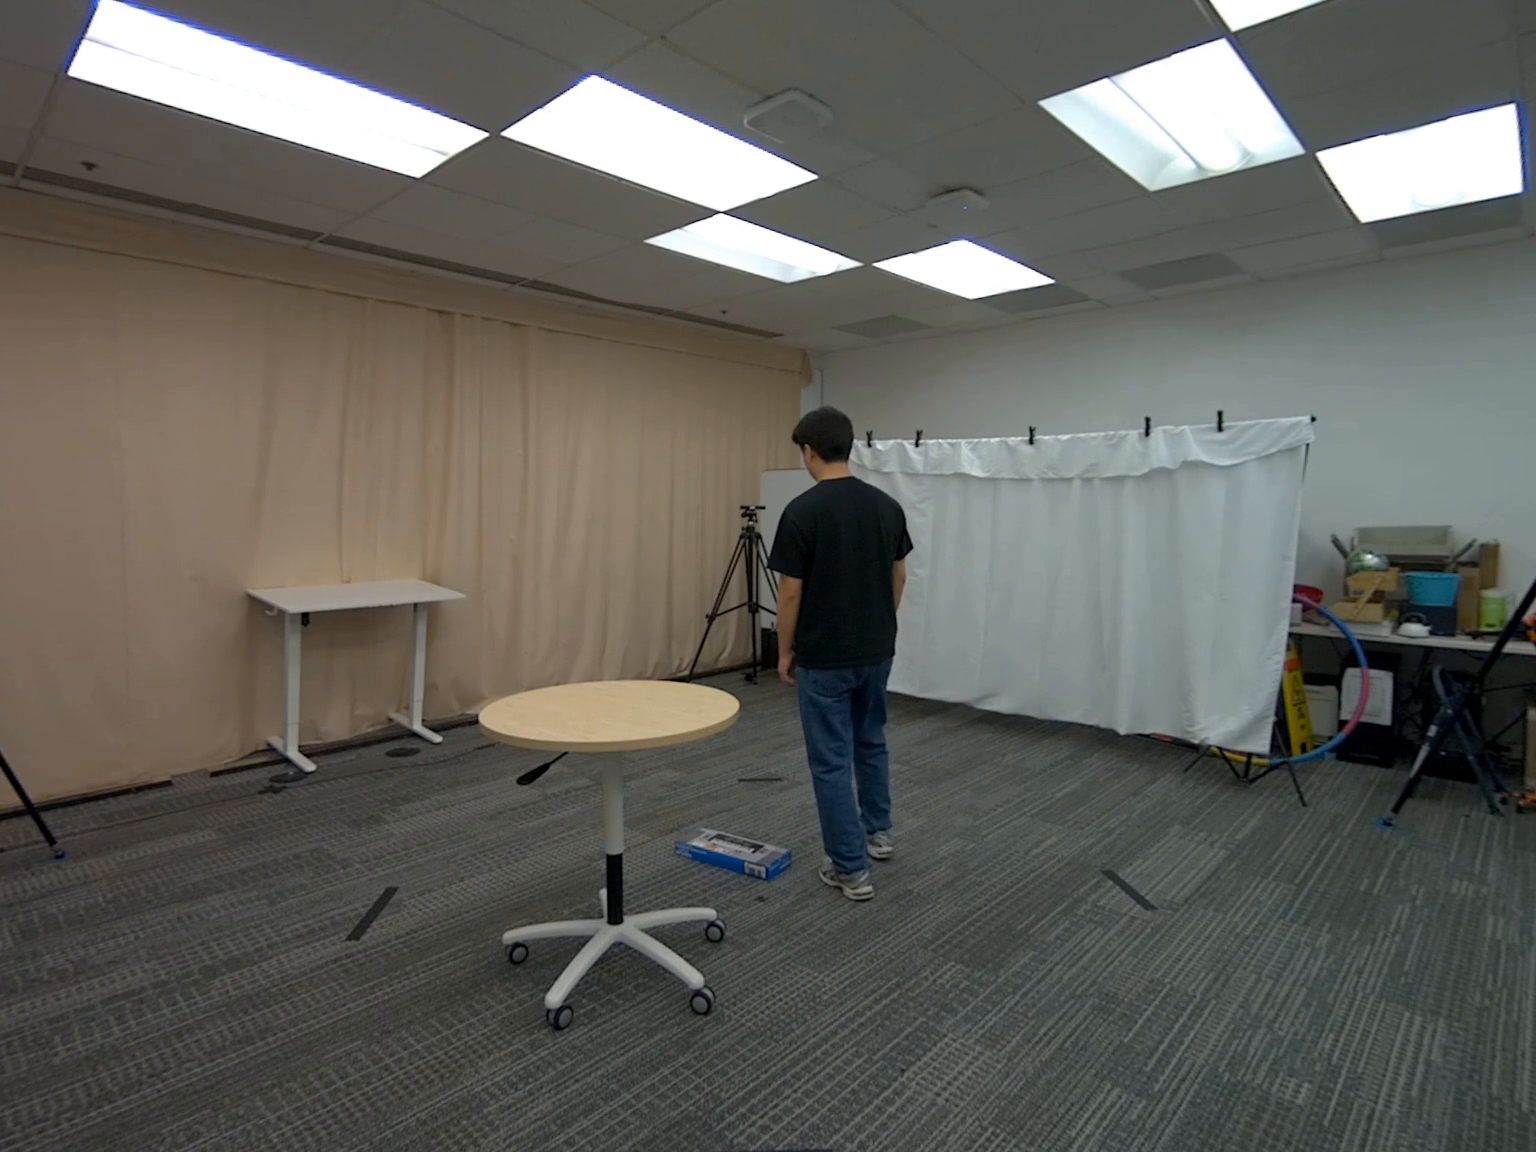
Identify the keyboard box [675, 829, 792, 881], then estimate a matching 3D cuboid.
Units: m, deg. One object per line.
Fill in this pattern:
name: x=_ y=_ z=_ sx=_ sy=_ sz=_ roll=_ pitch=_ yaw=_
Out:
keyboard box: x=-0.143 y=1.090 z=3.311 sx=0.450 sy=0.059 sz=0.171 roll=3 pitch=6 yaw=34
